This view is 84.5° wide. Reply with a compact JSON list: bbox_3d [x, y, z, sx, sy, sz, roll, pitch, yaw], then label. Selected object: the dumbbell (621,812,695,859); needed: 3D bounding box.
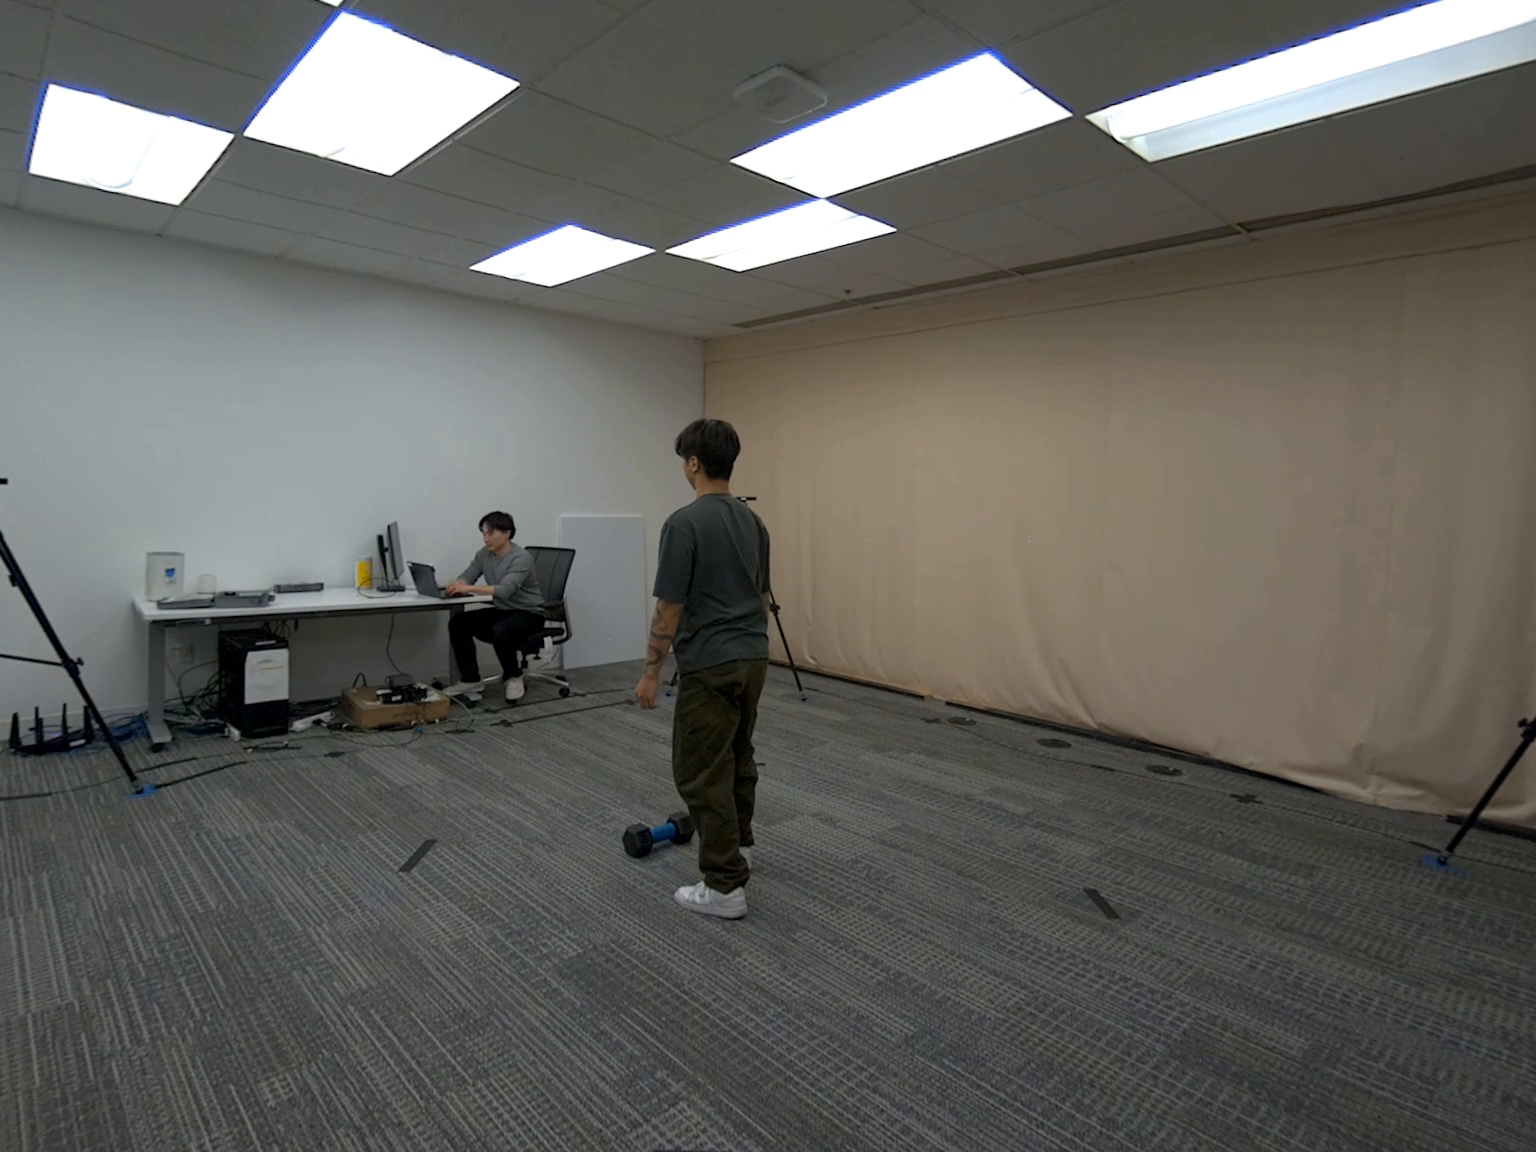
[{"bbox_3d":[-0.439,1.026,3.342,0.287,0.125,0.109,-4,-25,-43],"label":"dumbbell"}]
